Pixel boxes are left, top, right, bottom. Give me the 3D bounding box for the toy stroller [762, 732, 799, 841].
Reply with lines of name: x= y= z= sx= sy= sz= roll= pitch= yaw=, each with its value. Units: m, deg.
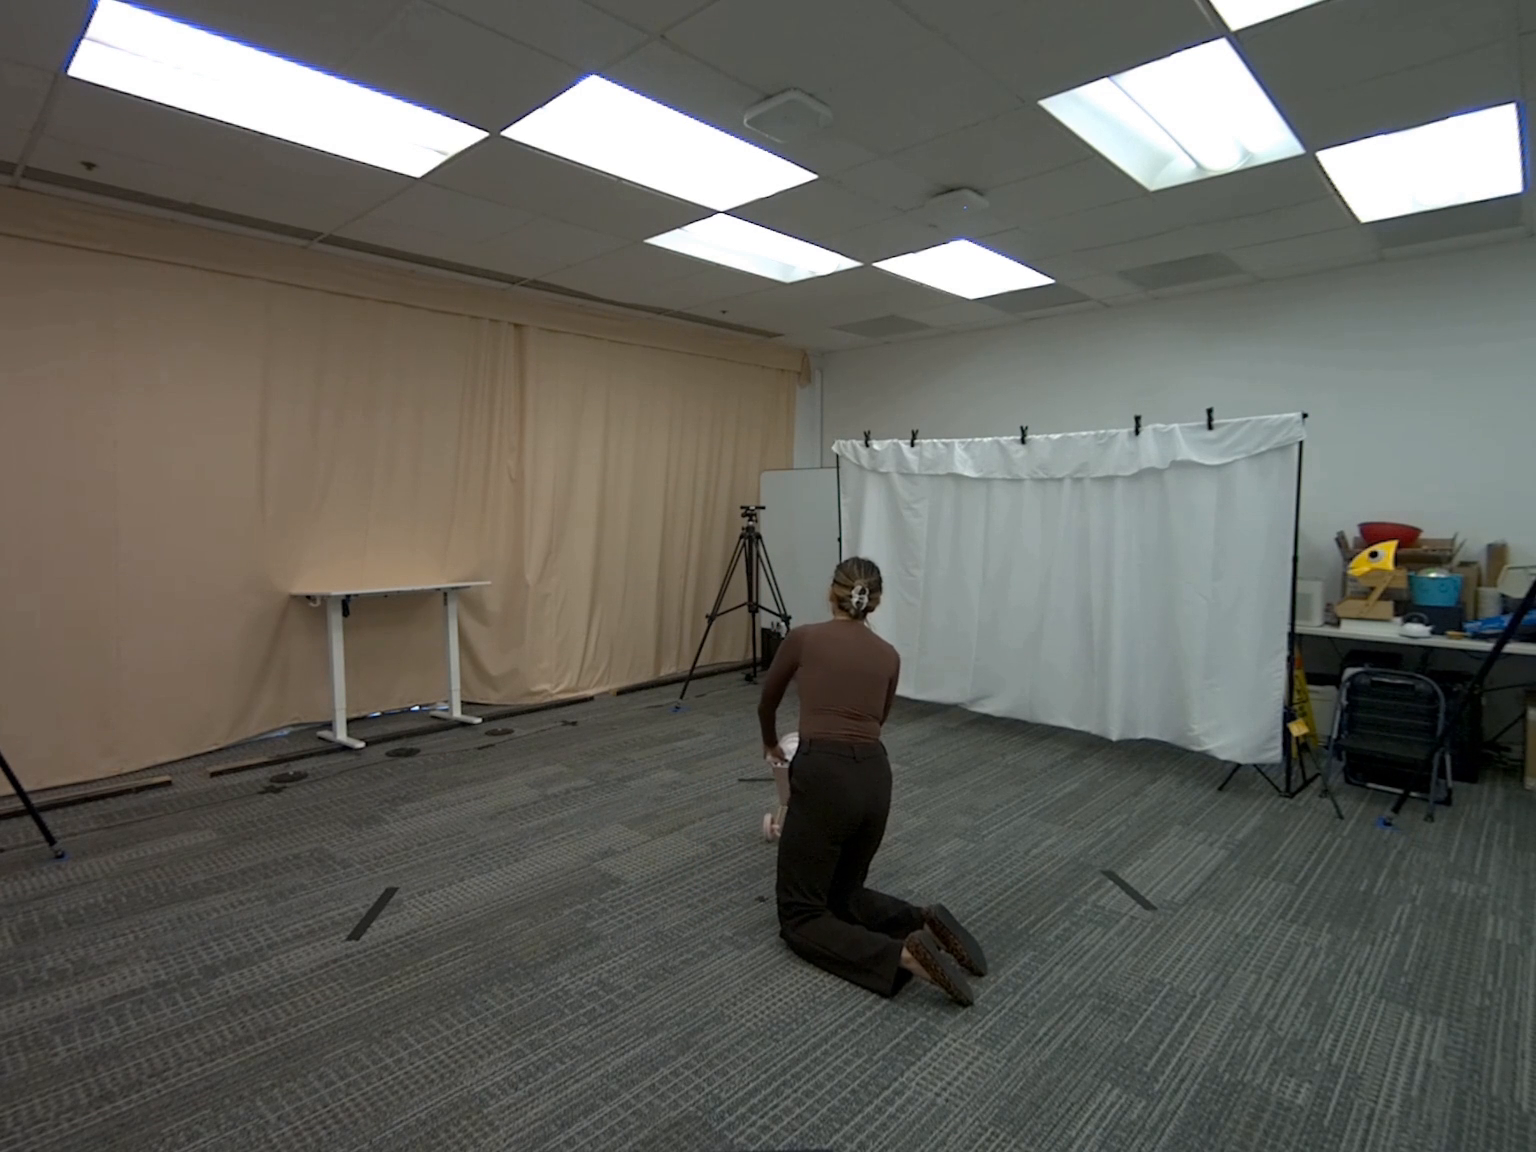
toy stroller: x=0.141 y=0.875 z=3.503 sx=0.288 sy=0.527 sz=0.339 roll=3 pitch=24 yaw=20
